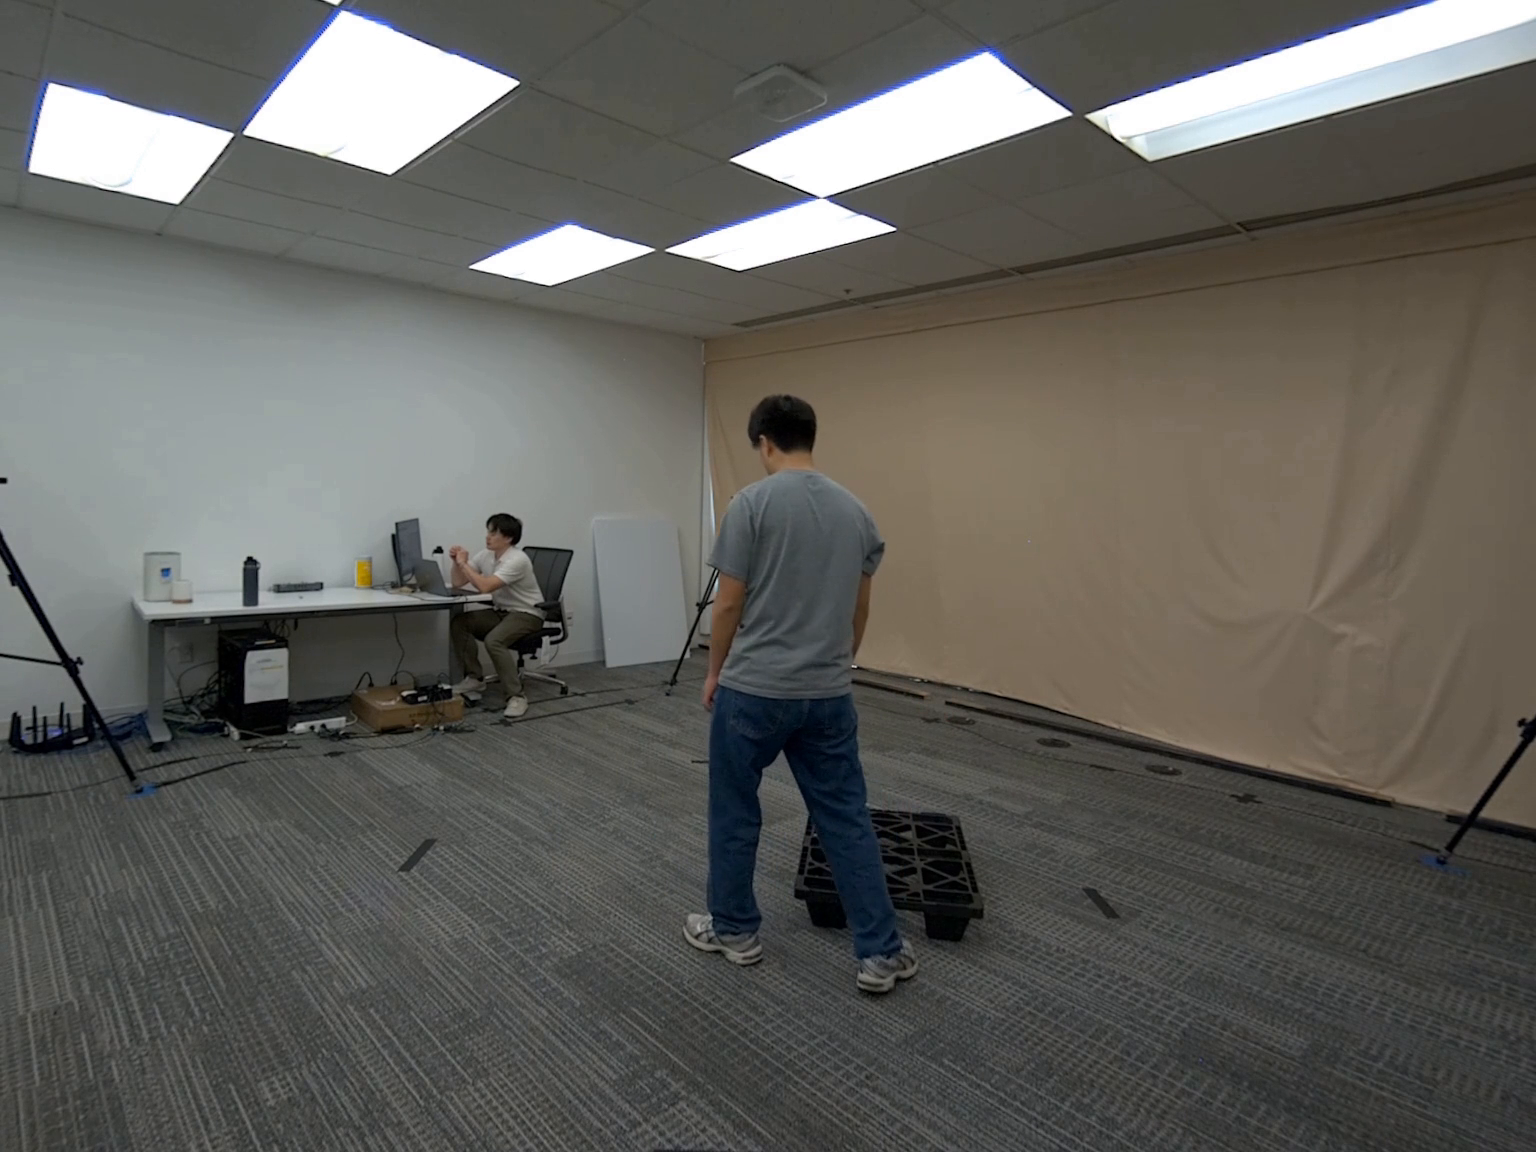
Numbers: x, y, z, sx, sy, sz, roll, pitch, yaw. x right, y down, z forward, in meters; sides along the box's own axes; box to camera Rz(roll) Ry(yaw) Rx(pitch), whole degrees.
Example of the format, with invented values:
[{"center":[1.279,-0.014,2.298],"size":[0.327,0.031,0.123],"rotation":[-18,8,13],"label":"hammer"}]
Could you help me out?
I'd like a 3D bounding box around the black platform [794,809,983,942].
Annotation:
[{"center":[0.414,1.053,3.061],"size":[0.609,0.143,0.802],"rotation":[2,5,8],"label":"black platform"}]
